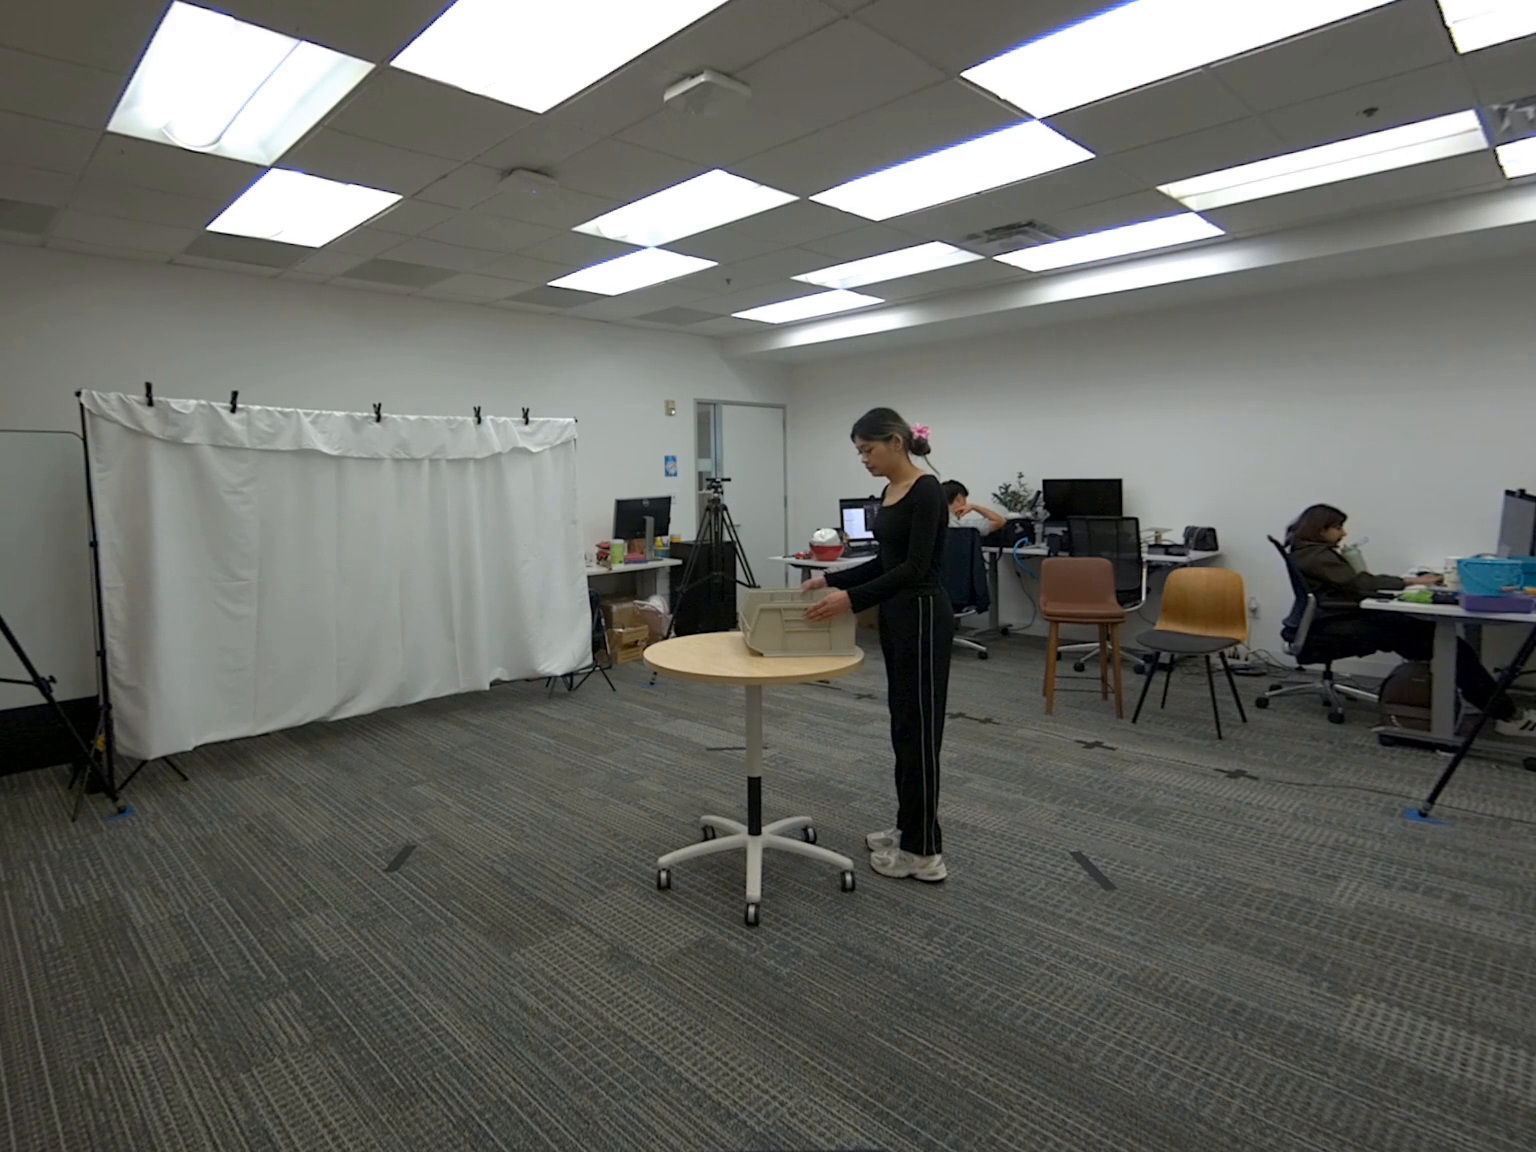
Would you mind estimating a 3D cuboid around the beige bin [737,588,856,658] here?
[{"bbox_3d":[0.095,0.158,3.083,0.376,0.188,0.425,-1,5,-4],"label":"beige bin"}]
